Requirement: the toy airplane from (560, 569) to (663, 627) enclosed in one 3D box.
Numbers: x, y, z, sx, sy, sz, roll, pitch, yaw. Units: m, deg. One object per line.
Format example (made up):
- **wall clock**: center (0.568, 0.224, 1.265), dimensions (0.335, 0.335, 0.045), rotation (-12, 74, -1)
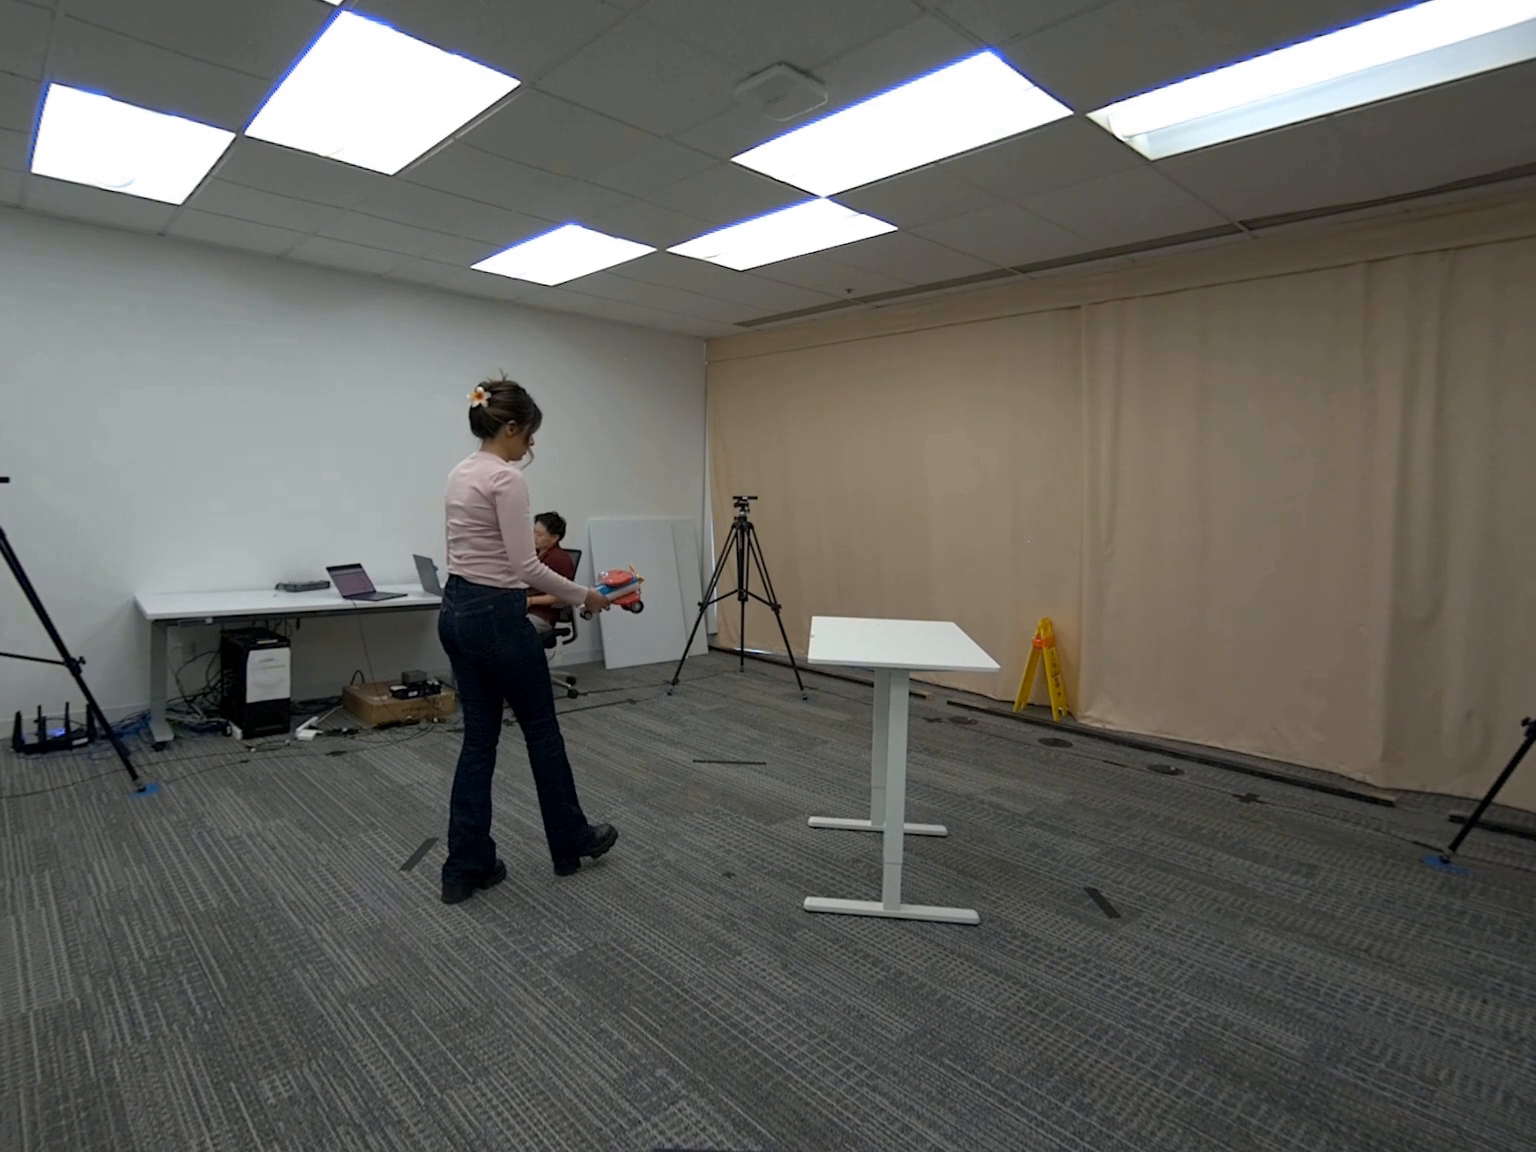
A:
- **toy airplane**: center (-0.564, 0.071, 3.033), dimensions (0.257, 0.155, 0.255), rotation (1, 9, 34)
